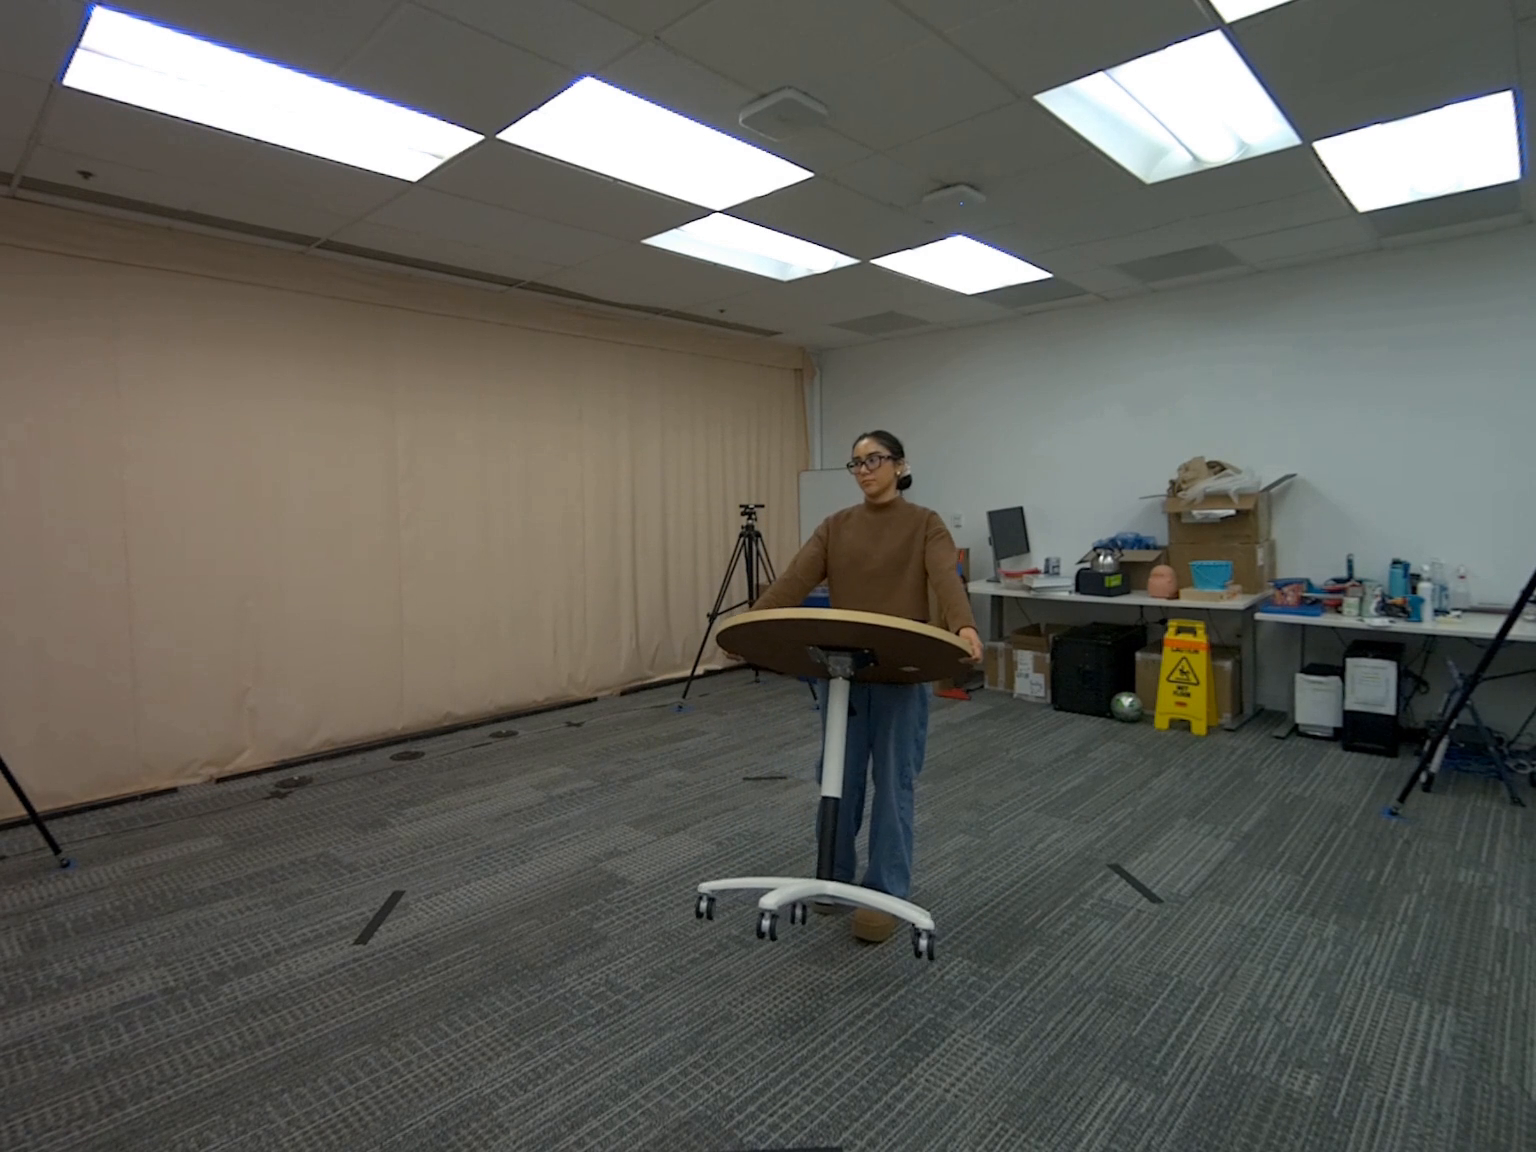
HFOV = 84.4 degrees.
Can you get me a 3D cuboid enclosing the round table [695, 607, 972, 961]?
[{"bbox_3d":[0.187,0.591,2.381,0.786,0.794,0.777,6,-19,0],"label":"round table"}]
